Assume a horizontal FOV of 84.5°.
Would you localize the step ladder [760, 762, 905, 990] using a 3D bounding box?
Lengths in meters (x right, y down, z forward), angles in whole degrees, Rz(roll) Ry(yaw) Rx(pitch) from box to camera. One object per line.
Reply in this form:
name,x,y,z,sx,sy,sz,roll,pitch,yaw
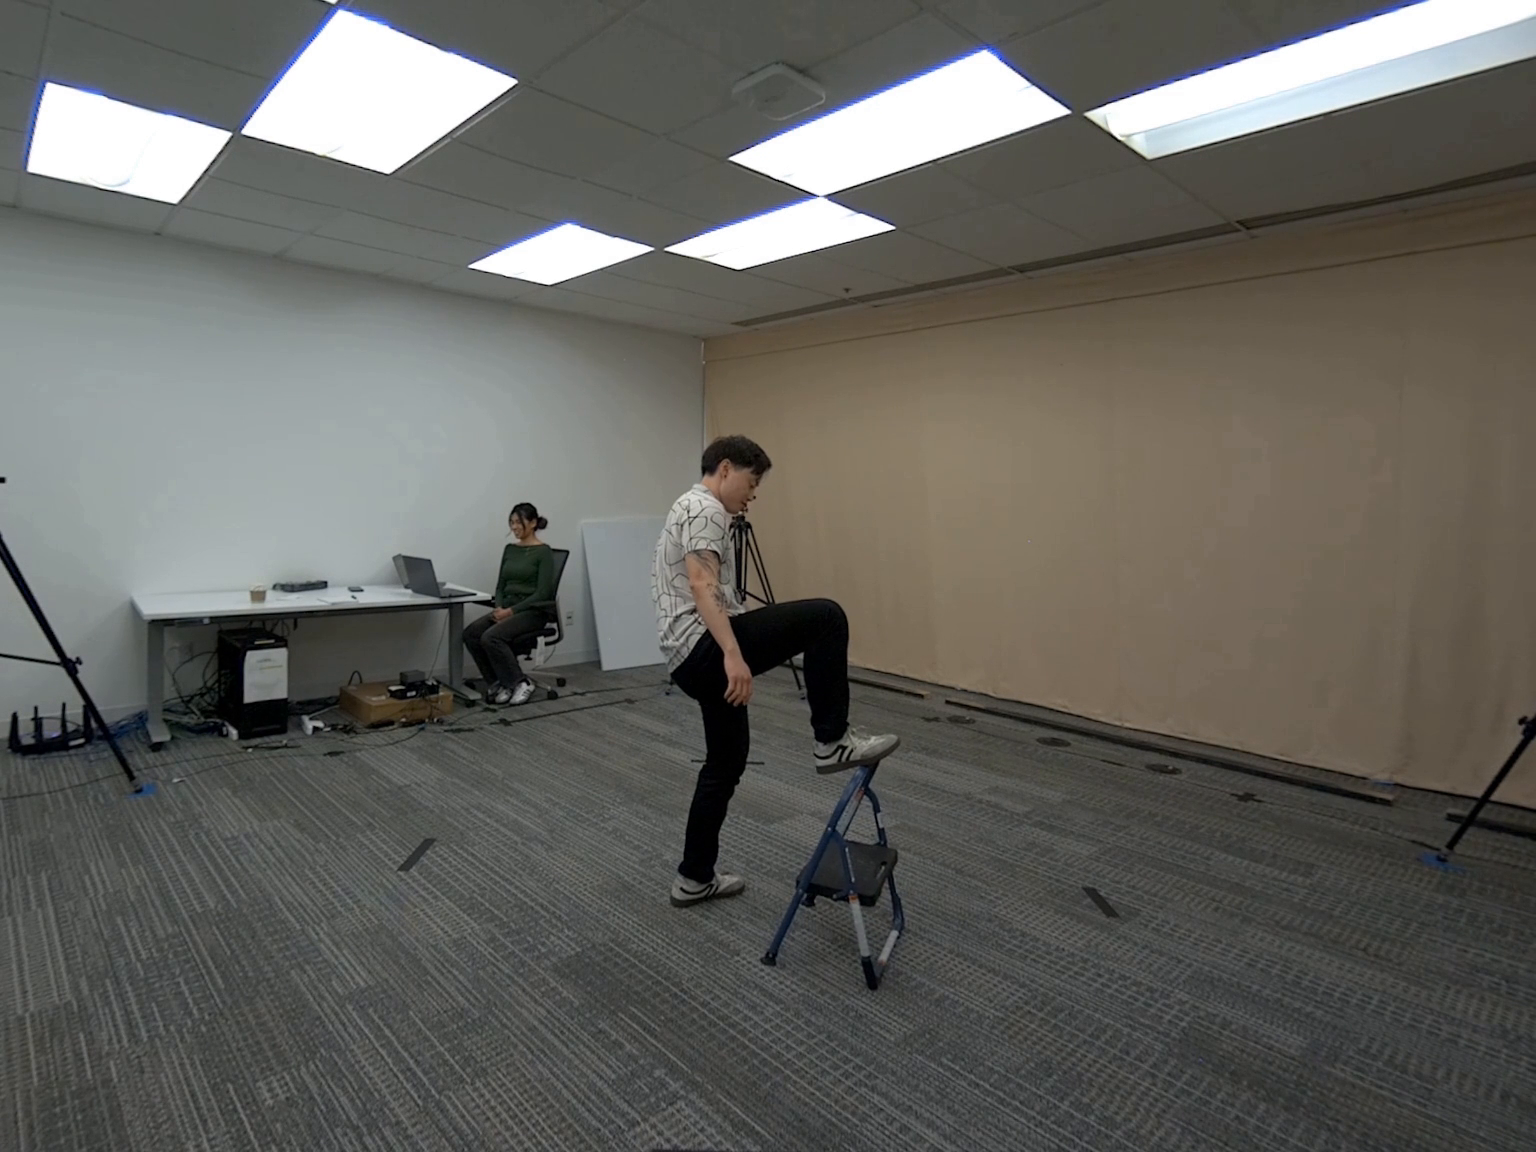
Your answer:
step ladder,0.229,0.851,2.613,0.355,0.604,0.425,4,5,21
